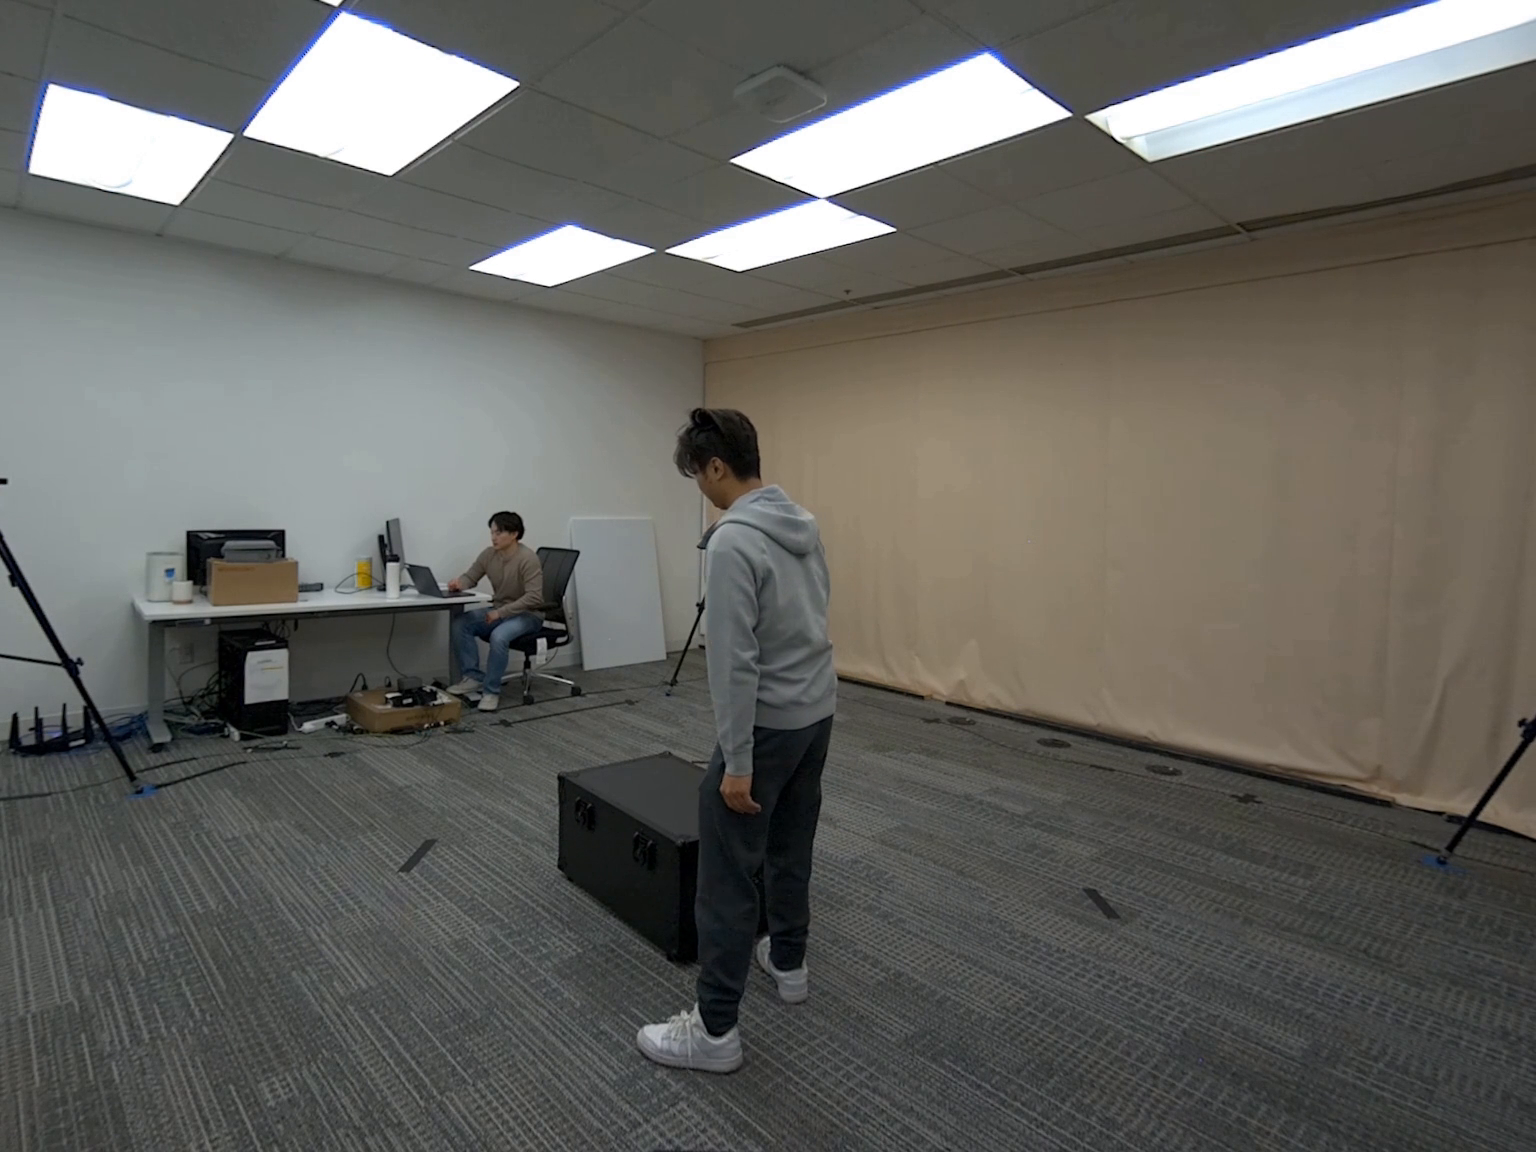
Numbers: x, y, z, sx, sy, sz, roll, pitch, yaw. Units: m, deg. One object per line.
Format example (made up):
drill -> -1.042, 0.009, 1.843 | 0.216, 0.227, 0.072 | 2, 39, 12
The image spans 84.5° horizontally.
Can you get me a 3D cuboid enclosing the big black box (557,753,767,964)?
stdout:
big black box -> -0.354, 0.928, 2.942 | 0.509, 0.395, 0.884 | -2, 7, -40
